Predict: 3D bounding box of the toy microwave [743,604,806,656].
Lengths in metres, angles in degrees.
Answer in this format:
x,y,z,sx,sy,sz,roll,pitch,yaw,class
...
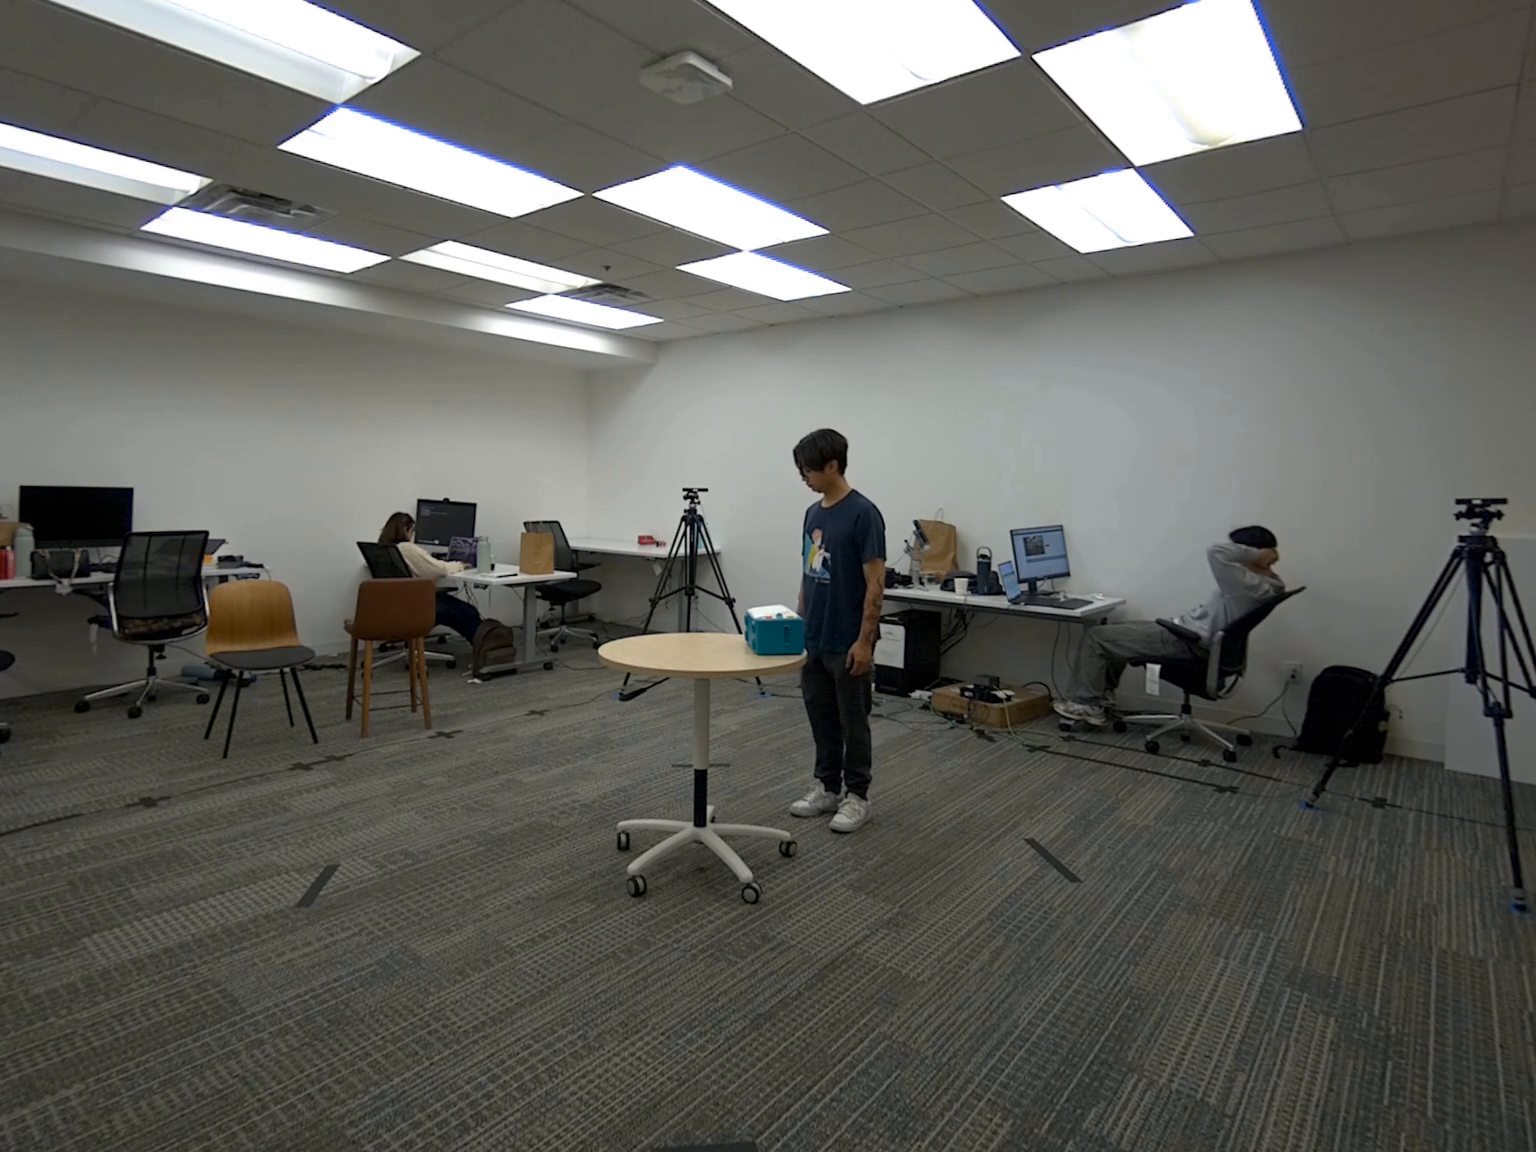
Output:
x,y,z,sx,sy,sz,roll,pitch,yaw,class
0.002,0.194,3.164,0.183,0.152,0.289,-2,4,-7,toy microwave
